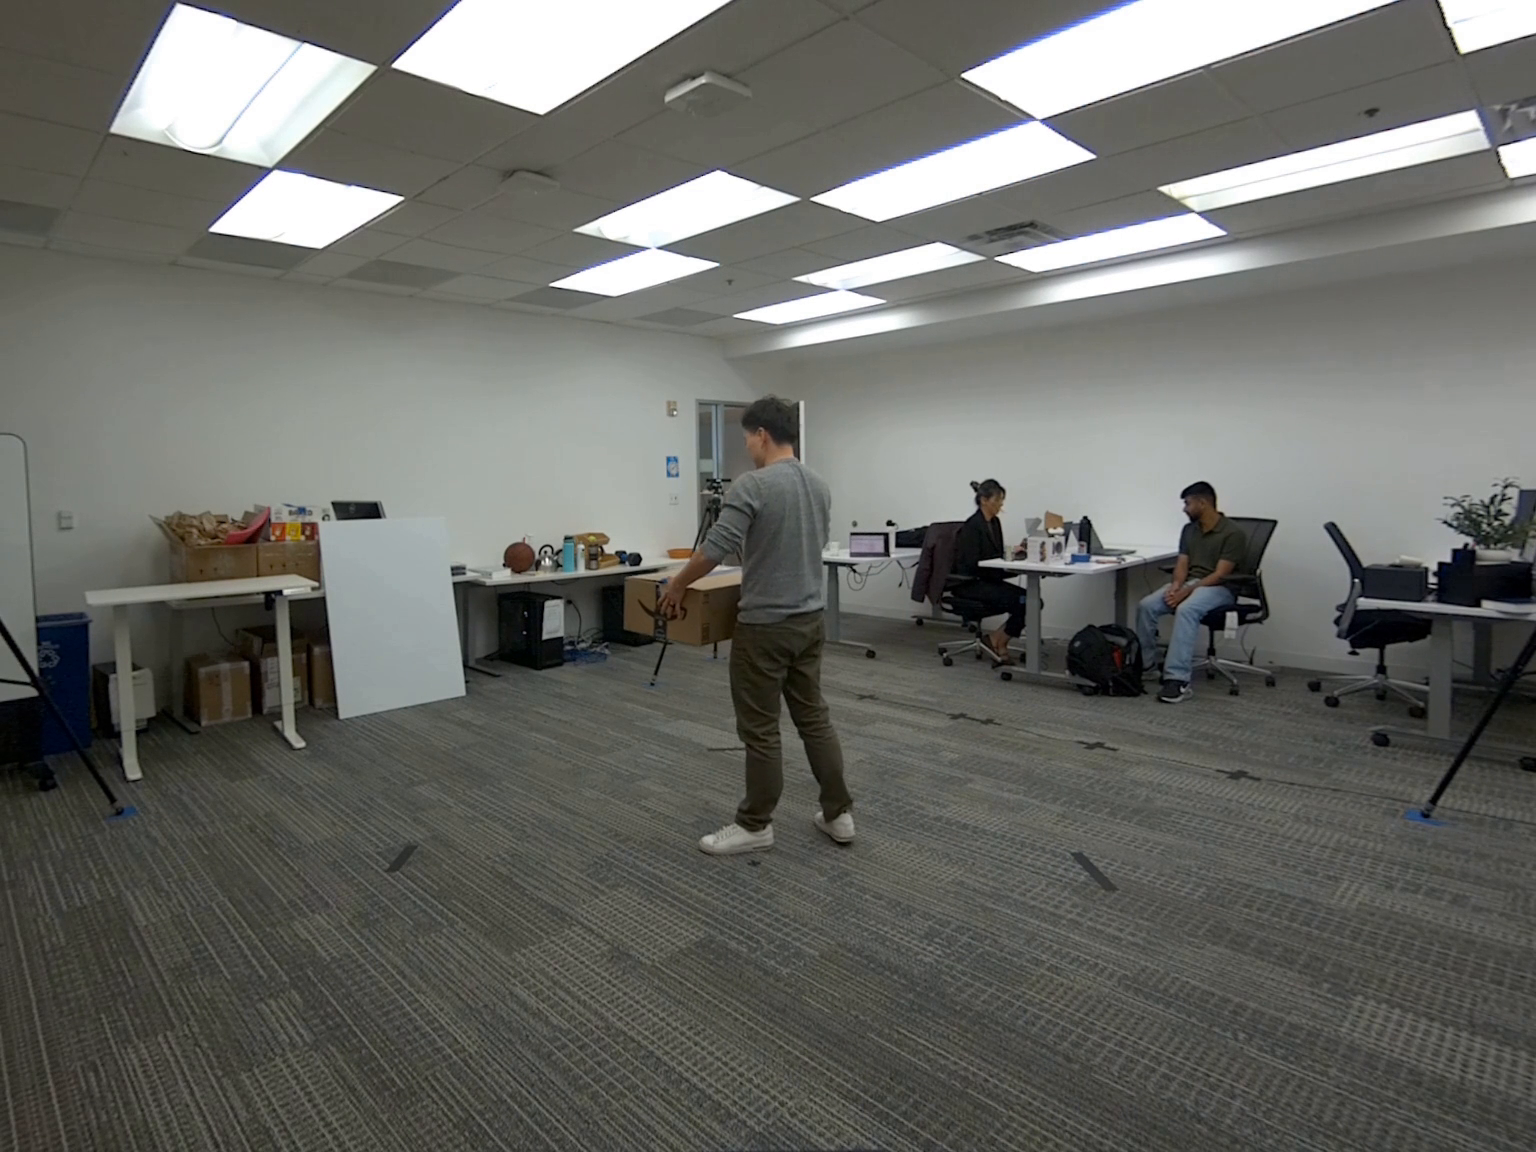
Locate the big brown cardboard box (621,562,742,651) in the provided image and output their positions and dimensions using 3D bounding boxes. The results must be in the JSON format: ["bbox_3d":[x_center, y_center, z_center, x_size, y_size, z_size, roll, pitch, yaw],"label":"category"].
[{"bbox_3d":[-0.237,0.102,3.485,0.430,0.232,0.574,6,10,37],"label":"big brown cardboard box"}]
